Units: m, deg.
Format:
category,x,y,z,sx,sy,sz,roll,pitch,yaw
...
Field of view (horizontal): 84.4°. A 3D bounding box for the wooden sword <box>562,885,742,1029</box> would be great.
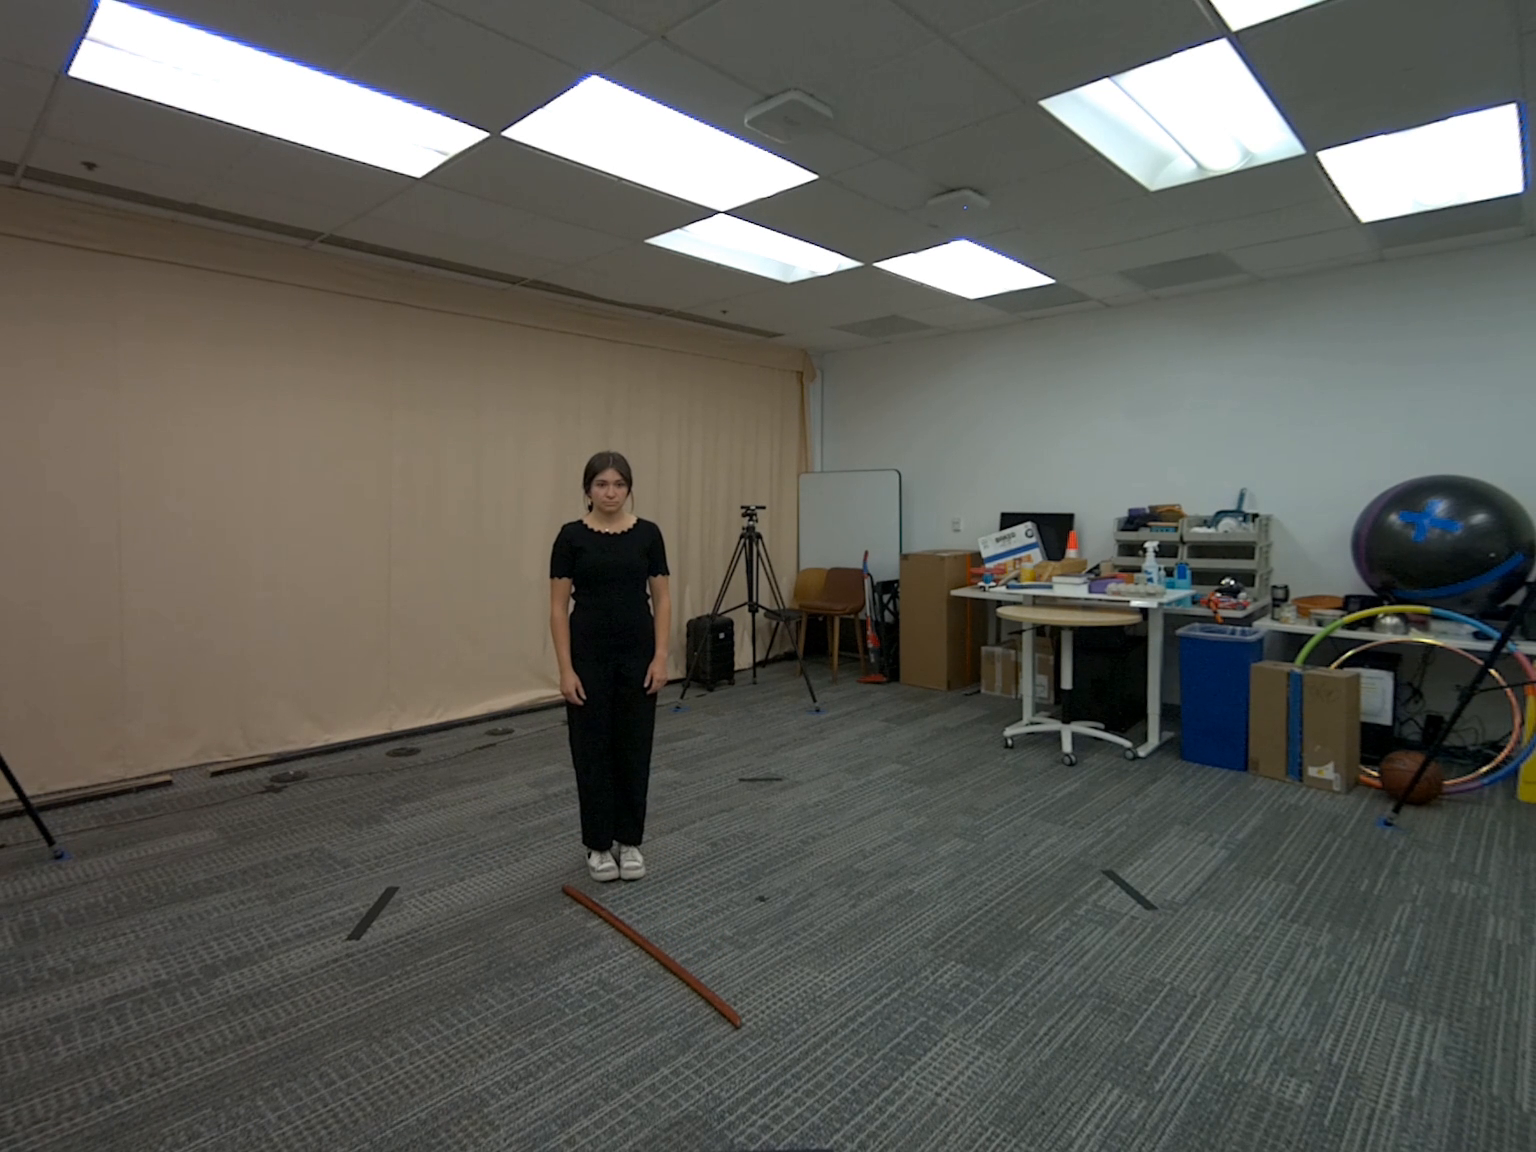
category,x,y,z,sx,sy,sz,roll,pitch,yaw
wooden sword,-0.386,1.150,2.663,0.050,0.024,1.058,-14,12,-36
